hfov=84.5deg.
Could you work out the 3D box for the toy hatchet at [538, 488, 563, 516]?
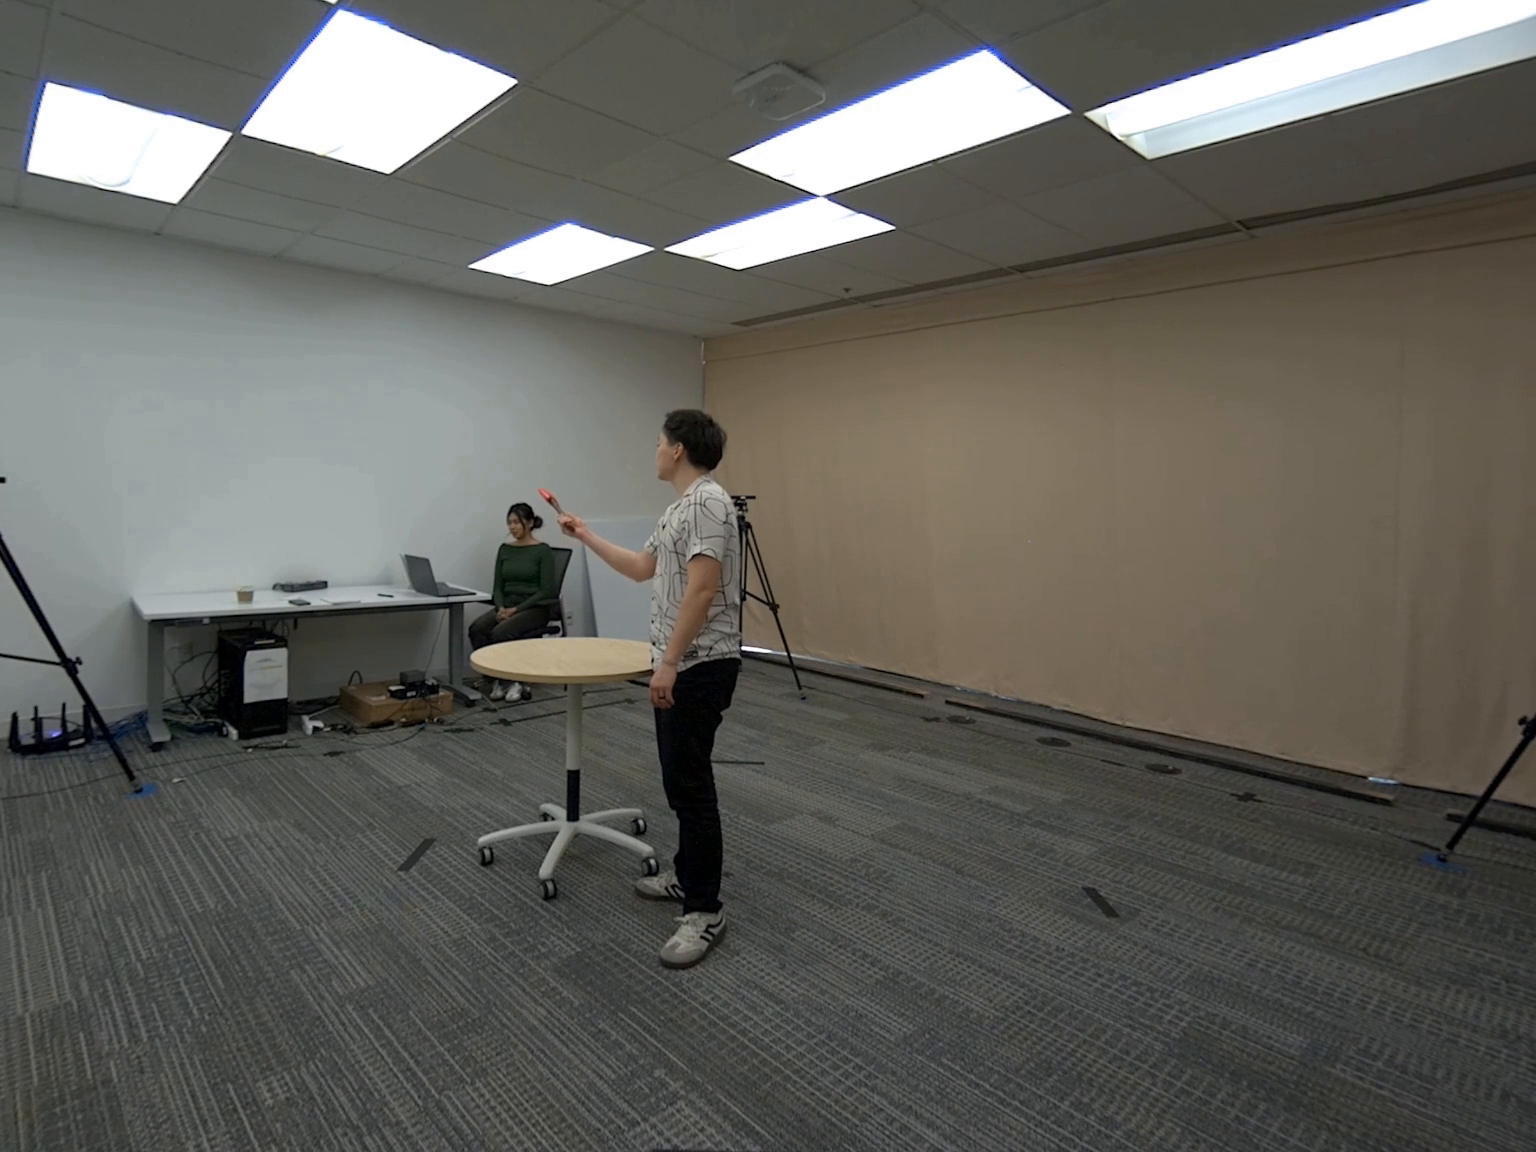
[{"bbox_3d":[-0.792,-0.252,3.083,0.127,0.029,0.278,50,-3,-35],"label":"toy hatchet"}]
